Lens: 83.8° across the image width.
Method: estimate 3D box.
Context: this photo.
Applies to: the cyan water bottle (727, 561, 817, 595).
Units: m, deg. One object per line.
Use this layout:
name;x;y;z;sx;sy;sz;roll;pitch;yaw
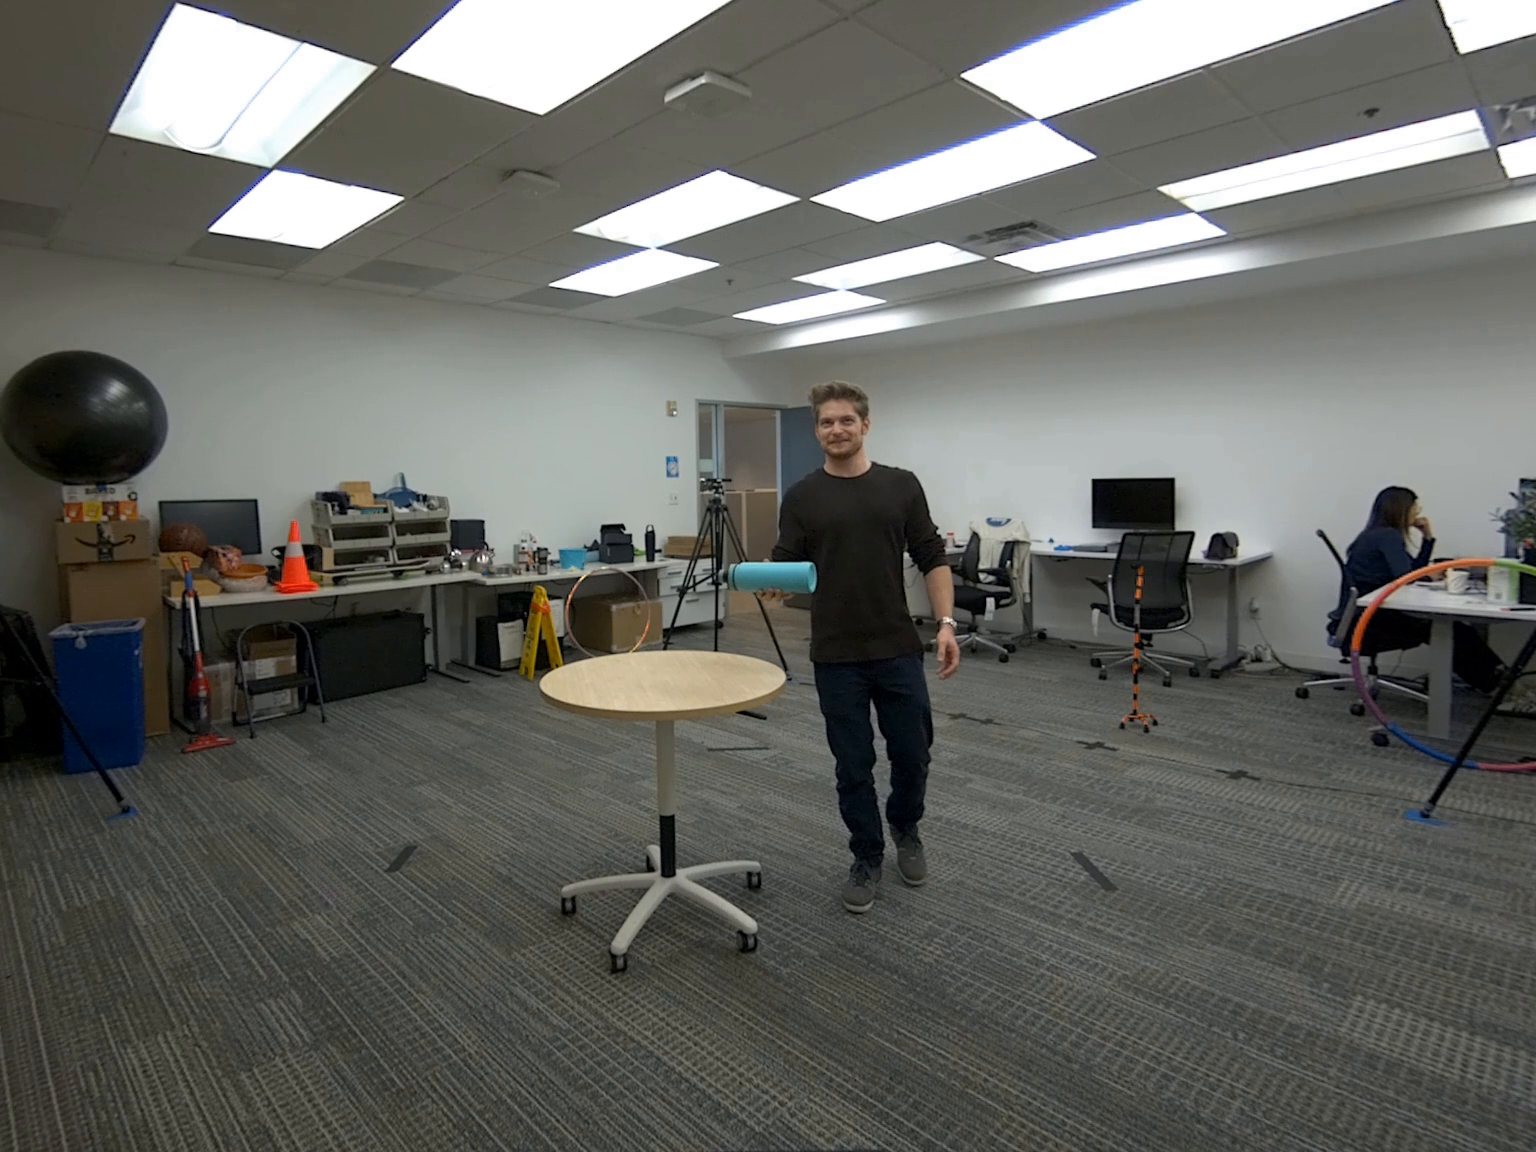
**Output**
cyan water bottle;0.008;0.004;2.524;0.288;0.092;0.091;-2;4;19
